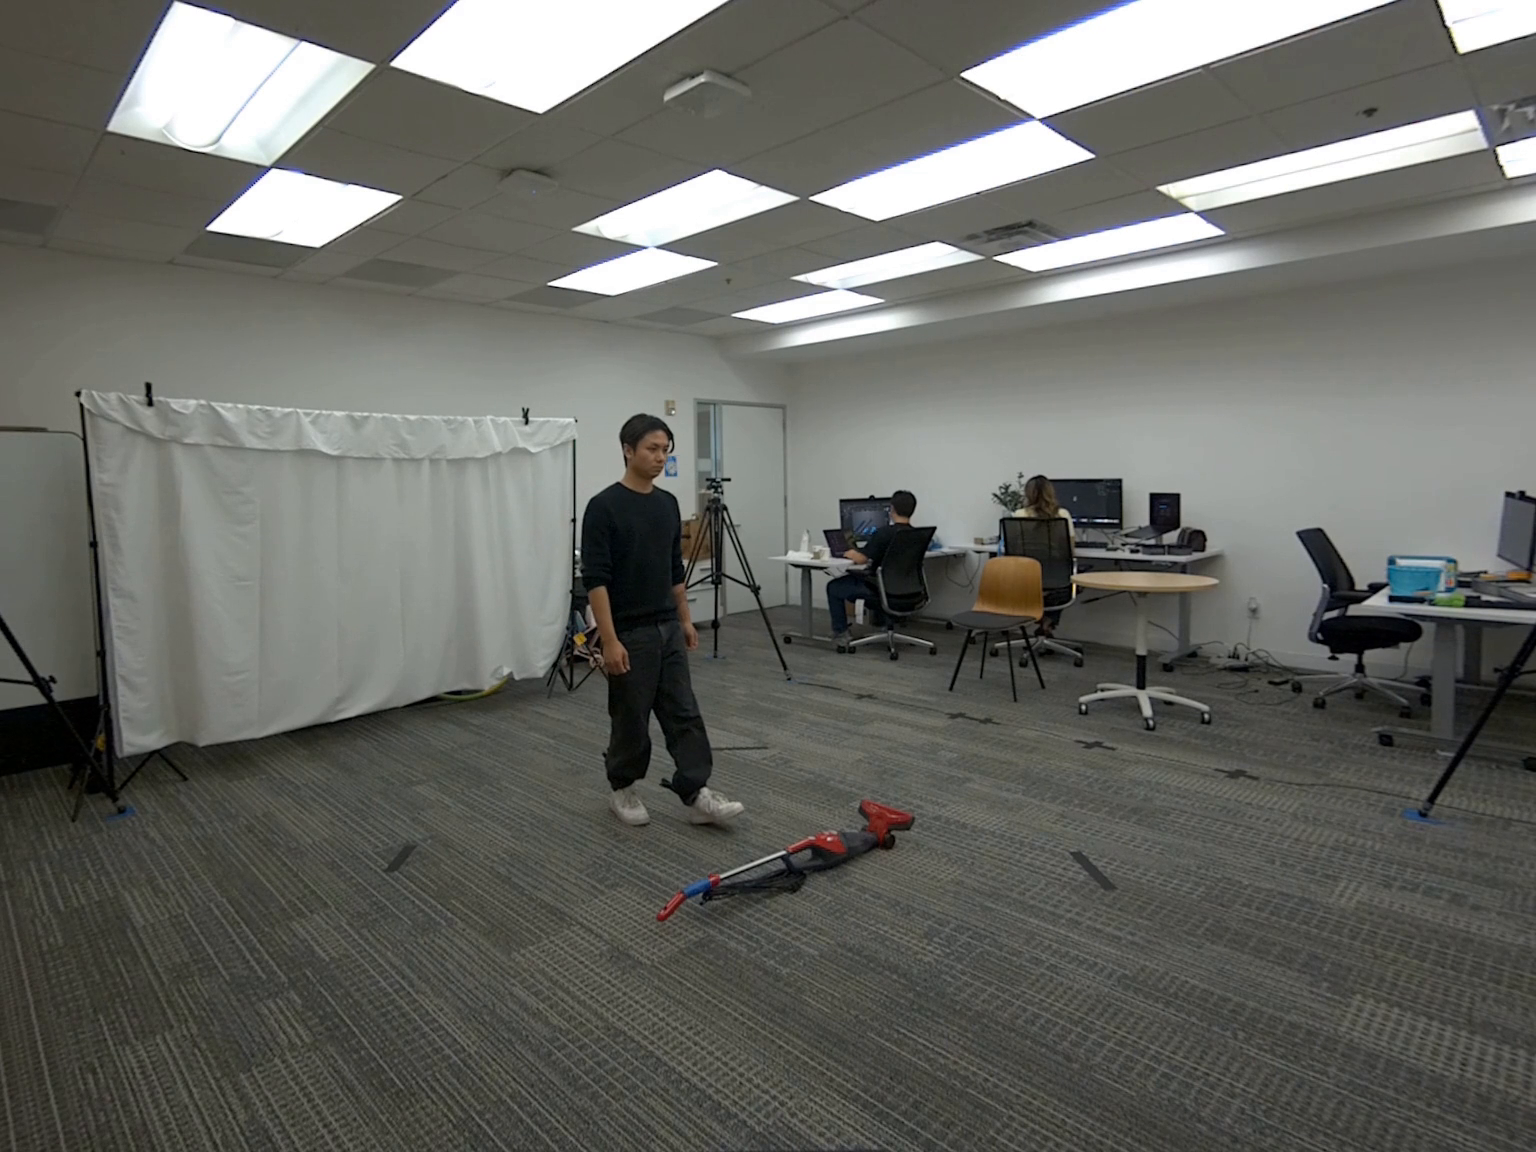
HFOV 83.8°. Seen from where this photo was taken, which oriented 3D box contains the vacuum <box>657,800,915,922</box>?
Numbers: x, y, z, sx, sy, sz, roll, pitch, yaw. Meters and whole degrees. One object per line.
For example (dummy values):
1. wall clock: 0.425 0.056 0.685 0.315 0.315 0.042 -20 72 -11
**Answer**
1. vacuum: 0.061 1.000 2.937 1.023 0.143 0.260 -8 8 -40
